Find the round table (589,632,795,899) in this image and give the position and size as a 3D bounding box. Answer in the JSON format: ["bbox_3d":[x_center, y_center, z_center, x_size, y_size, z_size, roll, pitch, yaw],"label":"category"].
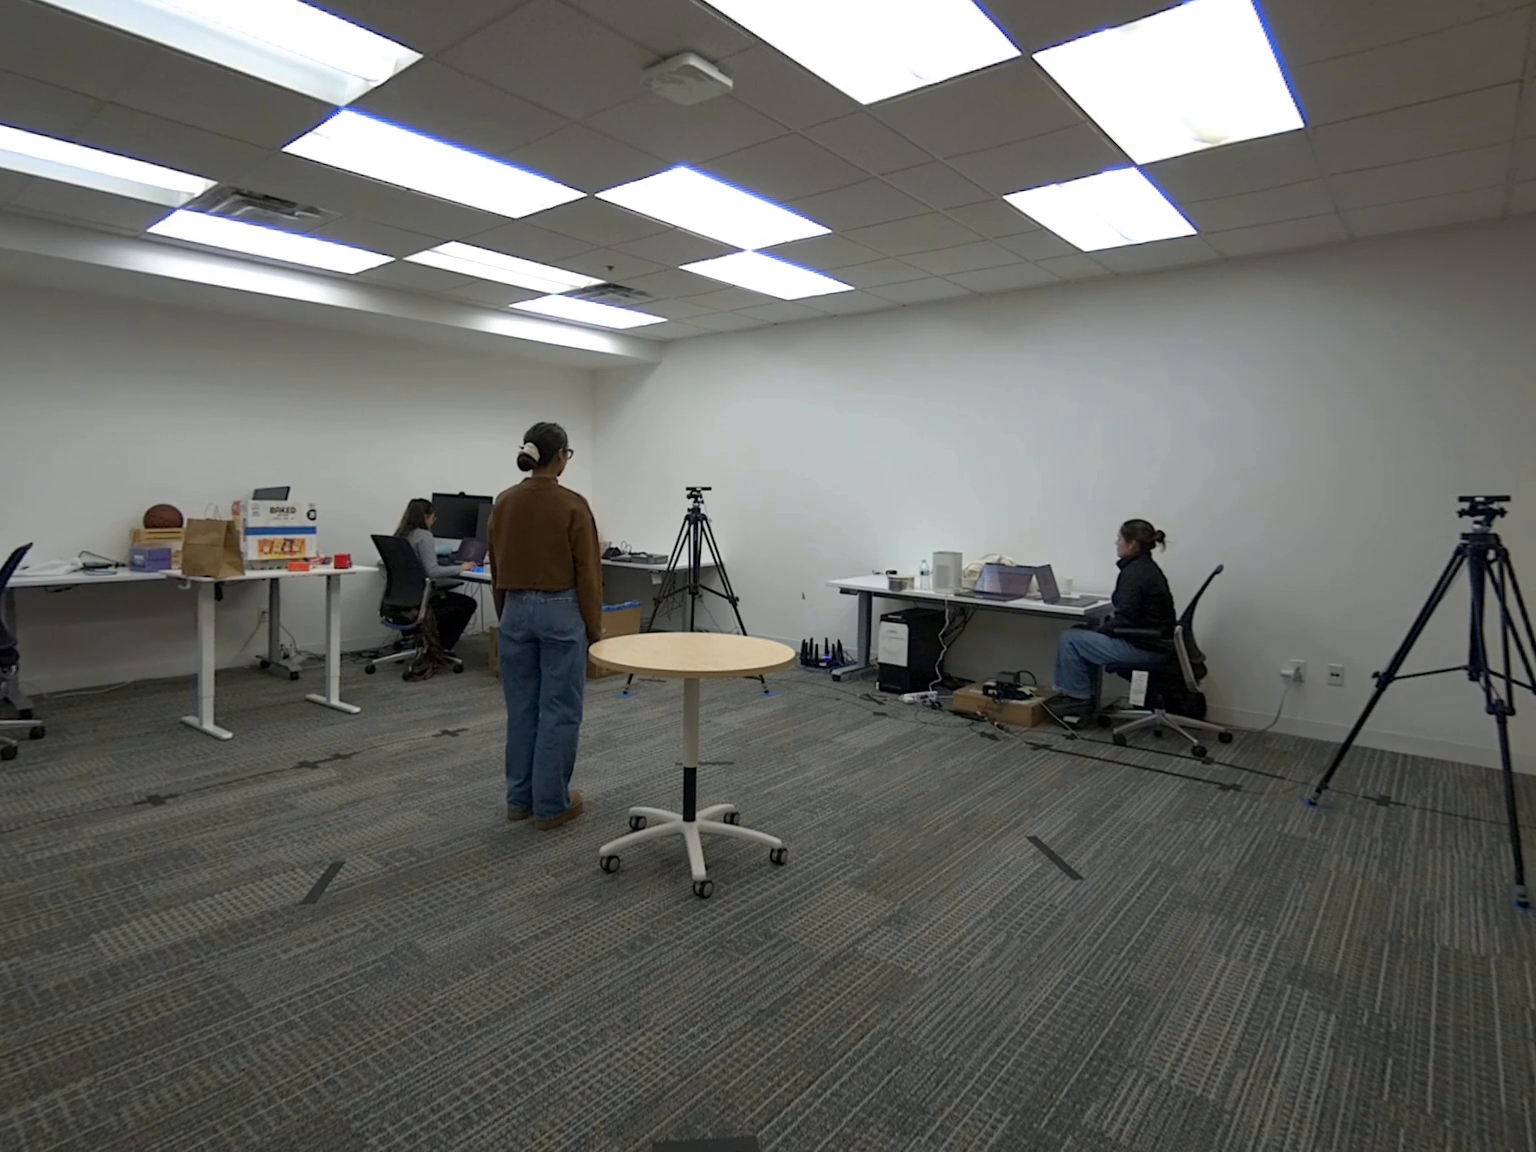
[{"bbox_3d":[-0.303,0.666,3.186,0.763,0.792,0.767,1,4,-2],"label":"round table"}]
